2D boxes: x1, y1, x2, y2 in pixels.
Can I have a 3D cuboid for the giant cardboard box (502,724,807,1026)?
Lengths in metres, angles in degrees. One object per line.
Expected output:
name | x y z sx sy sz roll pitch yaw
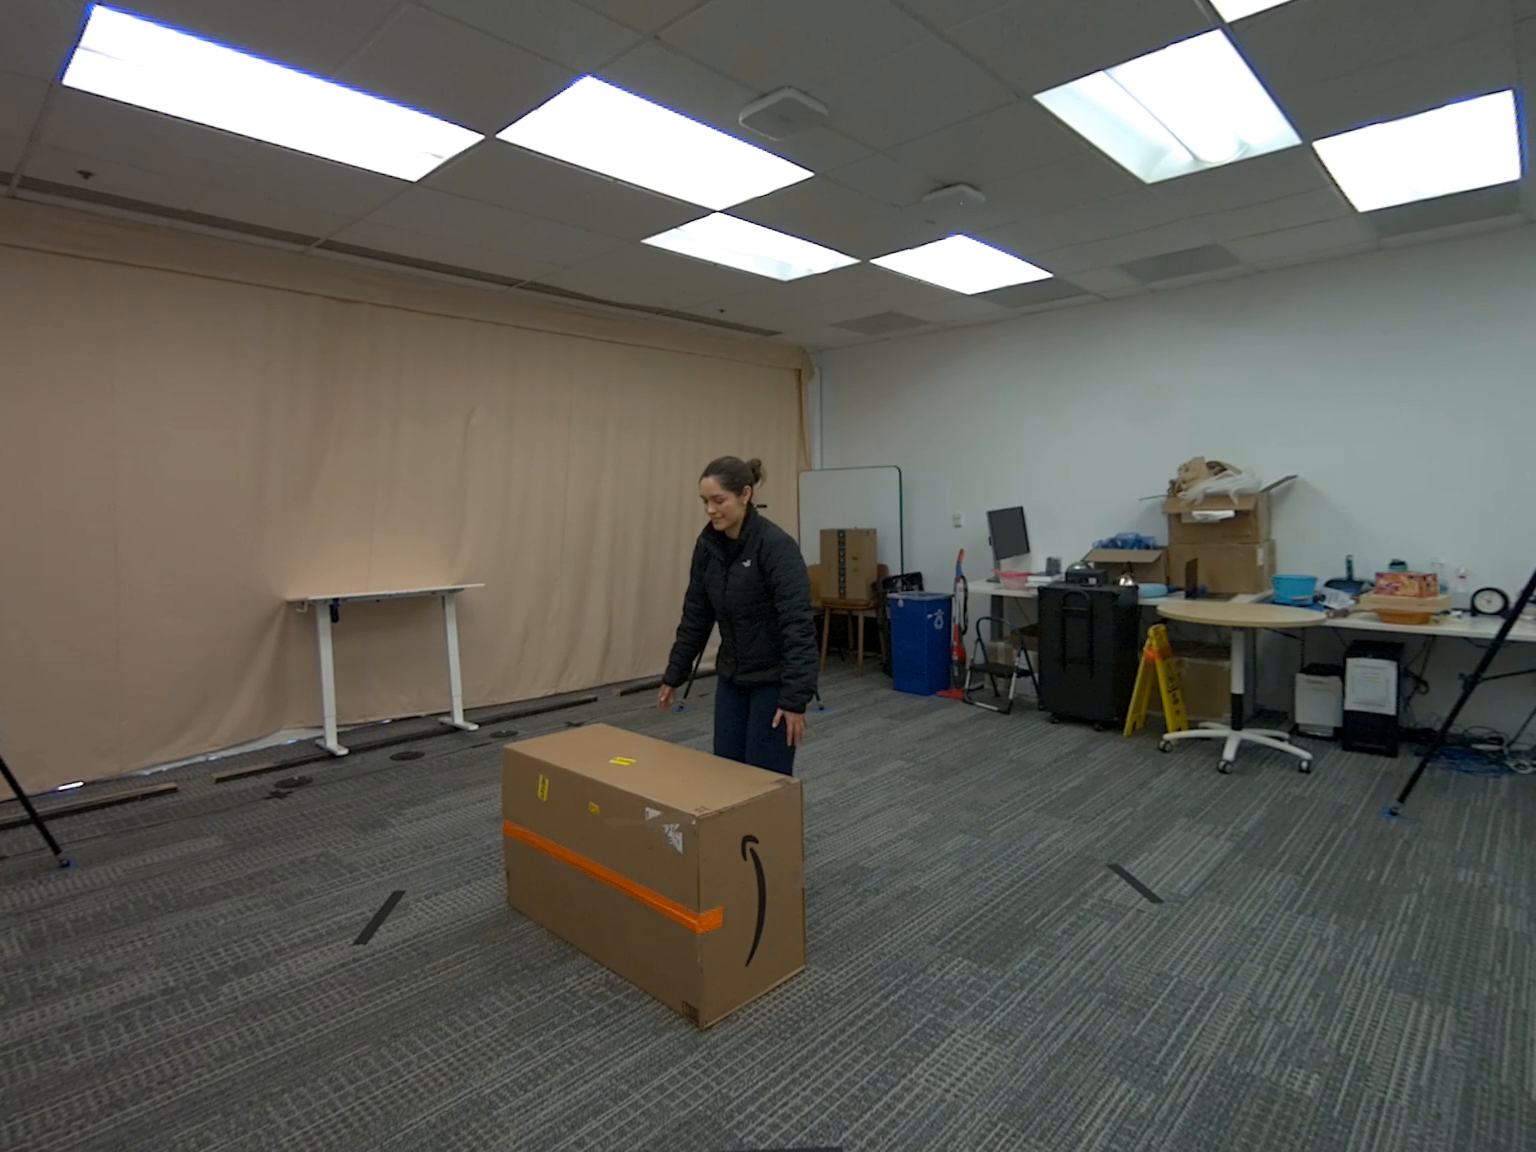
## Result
giant cardboard box | -0.399 0.887 2.731 1.061 0.582 0.433 2 5 44
